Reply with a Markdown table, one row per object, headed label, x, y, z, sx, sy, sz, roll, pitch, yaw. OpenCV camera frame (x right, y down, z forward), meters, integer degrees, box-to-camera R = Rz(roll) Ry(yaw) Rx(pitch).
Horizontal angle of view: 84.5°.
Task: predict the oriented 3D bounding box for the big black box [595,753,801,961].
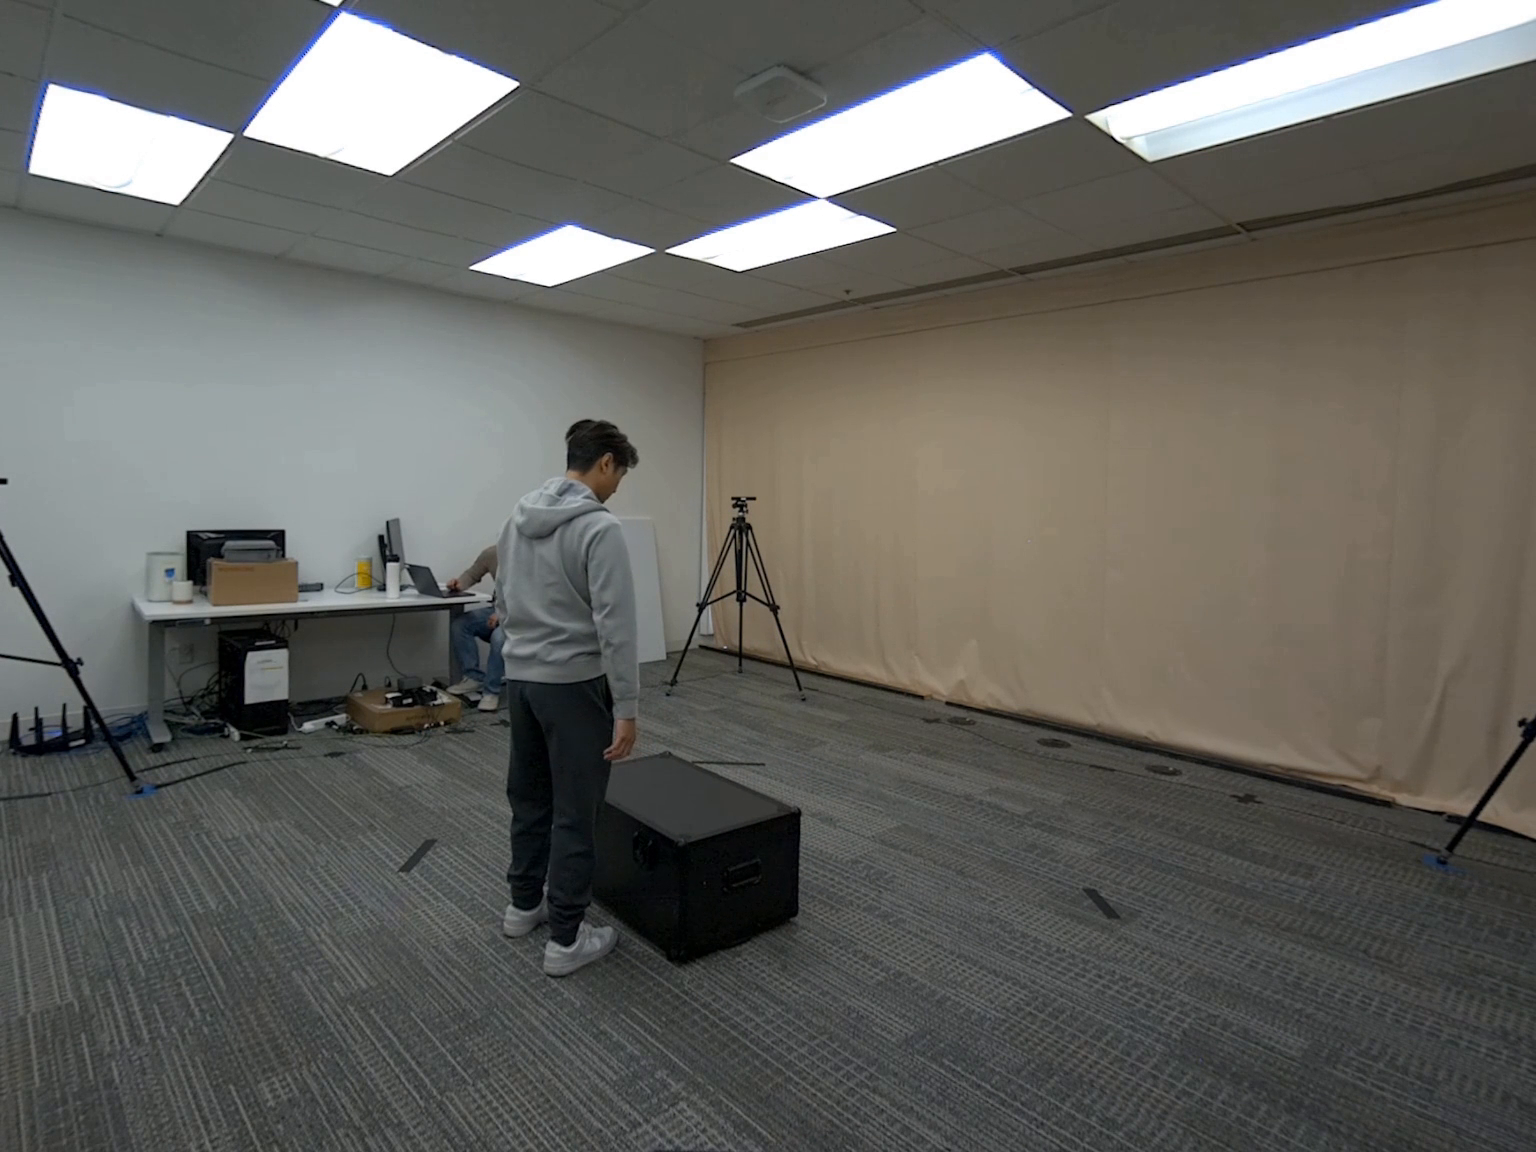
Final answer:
| label | x | y | z | sx | sy | sz | roll | pitch | yaw |
| --- | --- | --- | --- | --- | --- | --- | --- | --- | --- |
| big black box | -0.353 | 0.928 | 2.942 | 0.509 | 0.395 | 0.884 | -3 | 7 | -40 |
